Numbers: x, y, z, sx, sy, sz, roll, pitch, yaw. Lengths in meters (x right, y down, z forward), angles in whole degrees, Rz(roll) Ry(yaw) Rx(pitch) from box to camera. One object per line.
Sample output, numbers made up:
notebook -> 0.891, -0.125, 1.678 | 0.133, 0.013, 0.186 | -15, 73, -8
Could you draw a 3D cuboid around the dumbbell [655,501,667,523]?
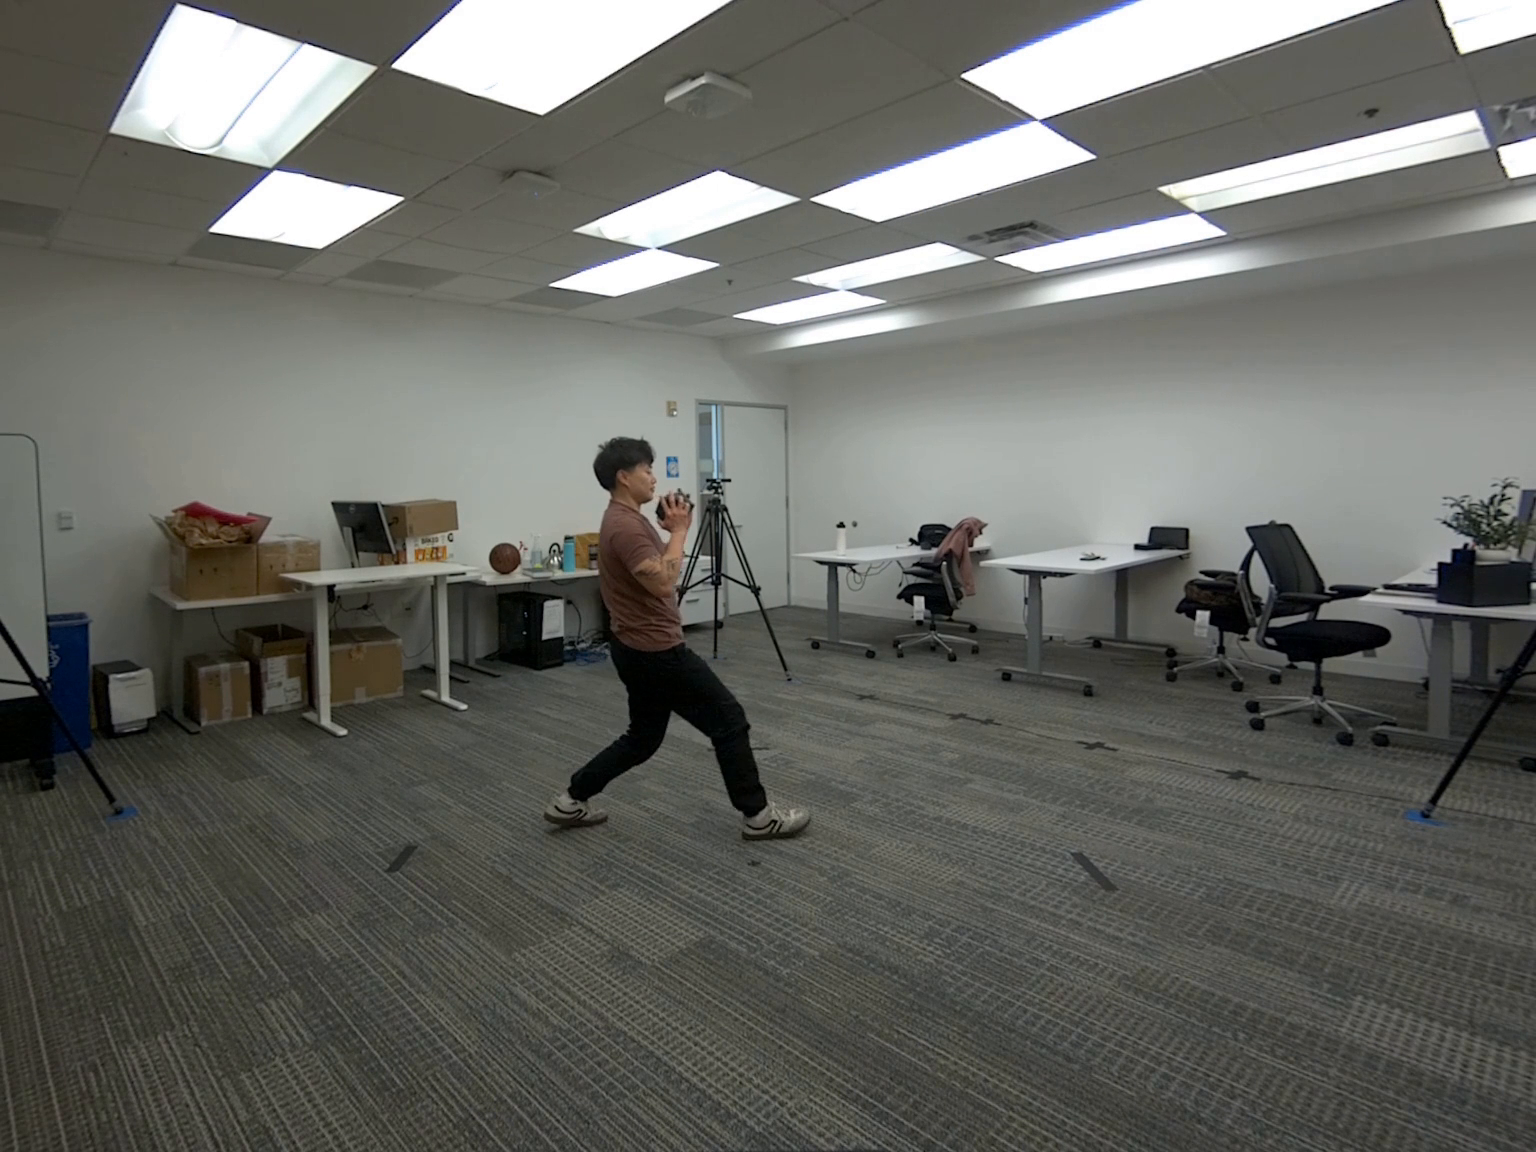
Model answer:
dumbbell -> -0.417, -0.262, 3.393 | 0.124, 0.108, 0.294 | -12, 8, 7
